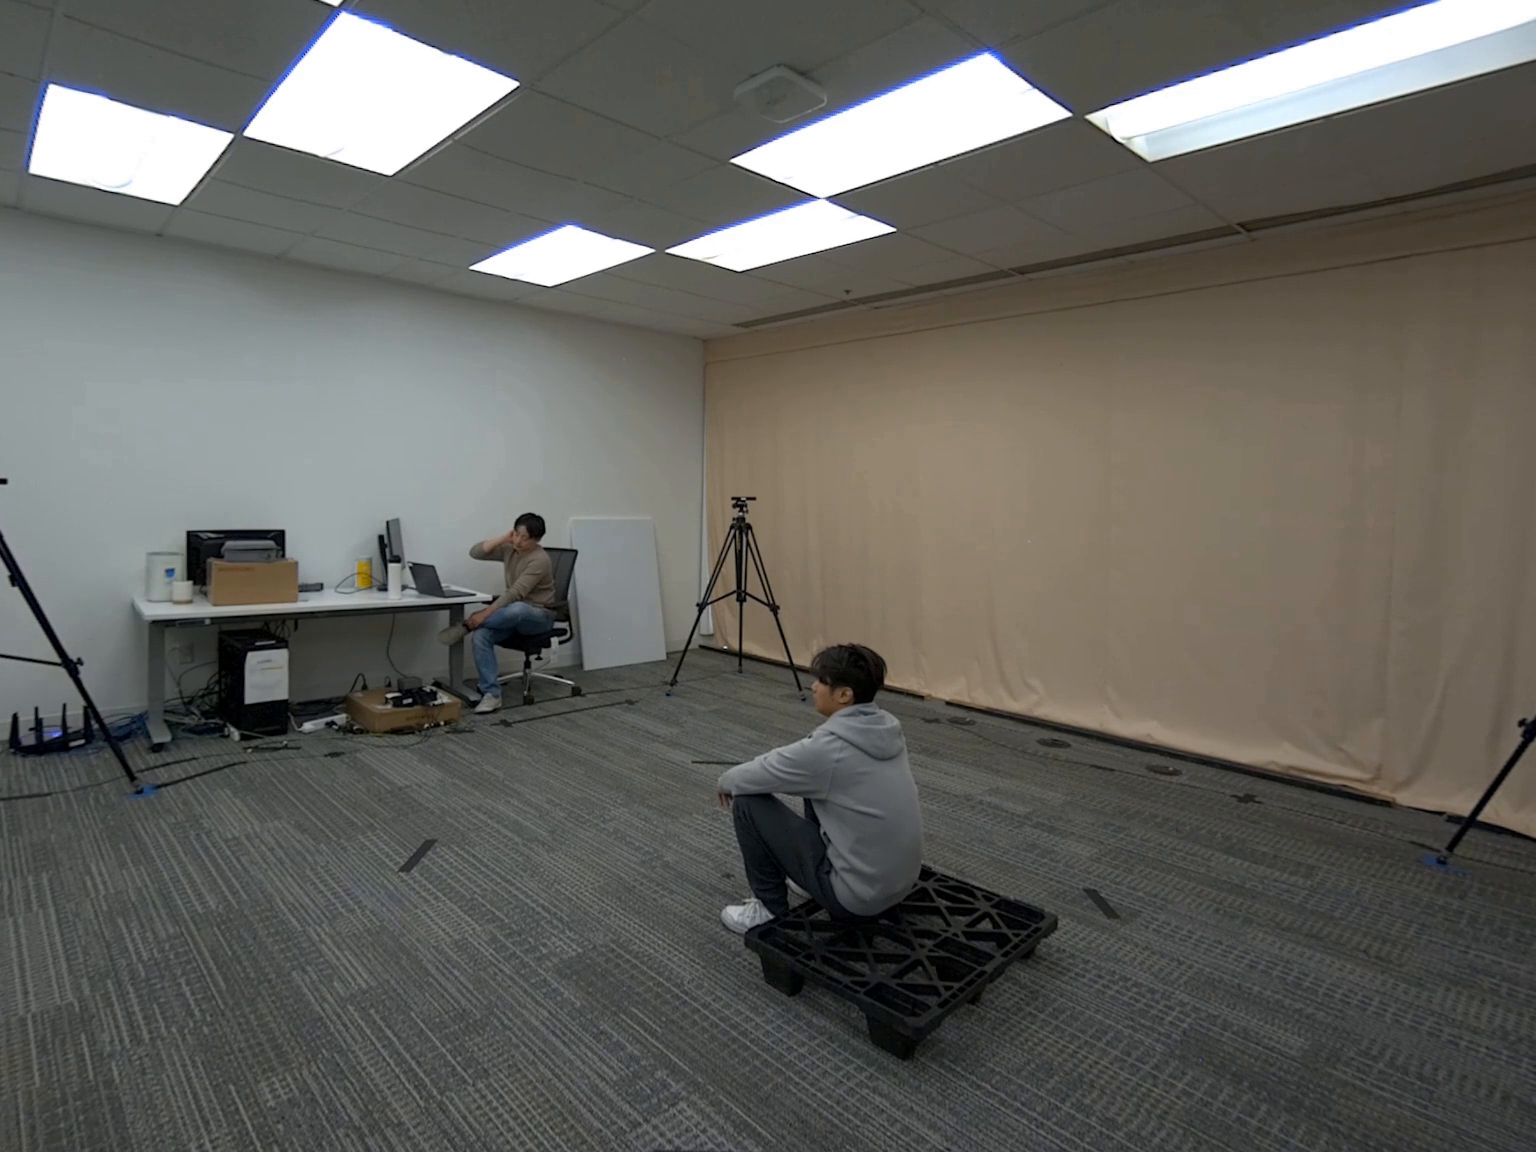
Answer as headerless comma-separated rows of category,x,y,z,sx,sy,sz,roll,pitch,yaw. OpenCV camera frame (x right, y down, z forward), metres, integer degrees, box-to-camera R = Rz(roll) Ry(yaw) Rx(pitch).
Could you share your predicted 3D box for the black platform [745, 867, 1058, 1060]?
black platform,0.400,1.108,2.518,0.620,0.143,0.787,5,7,43
